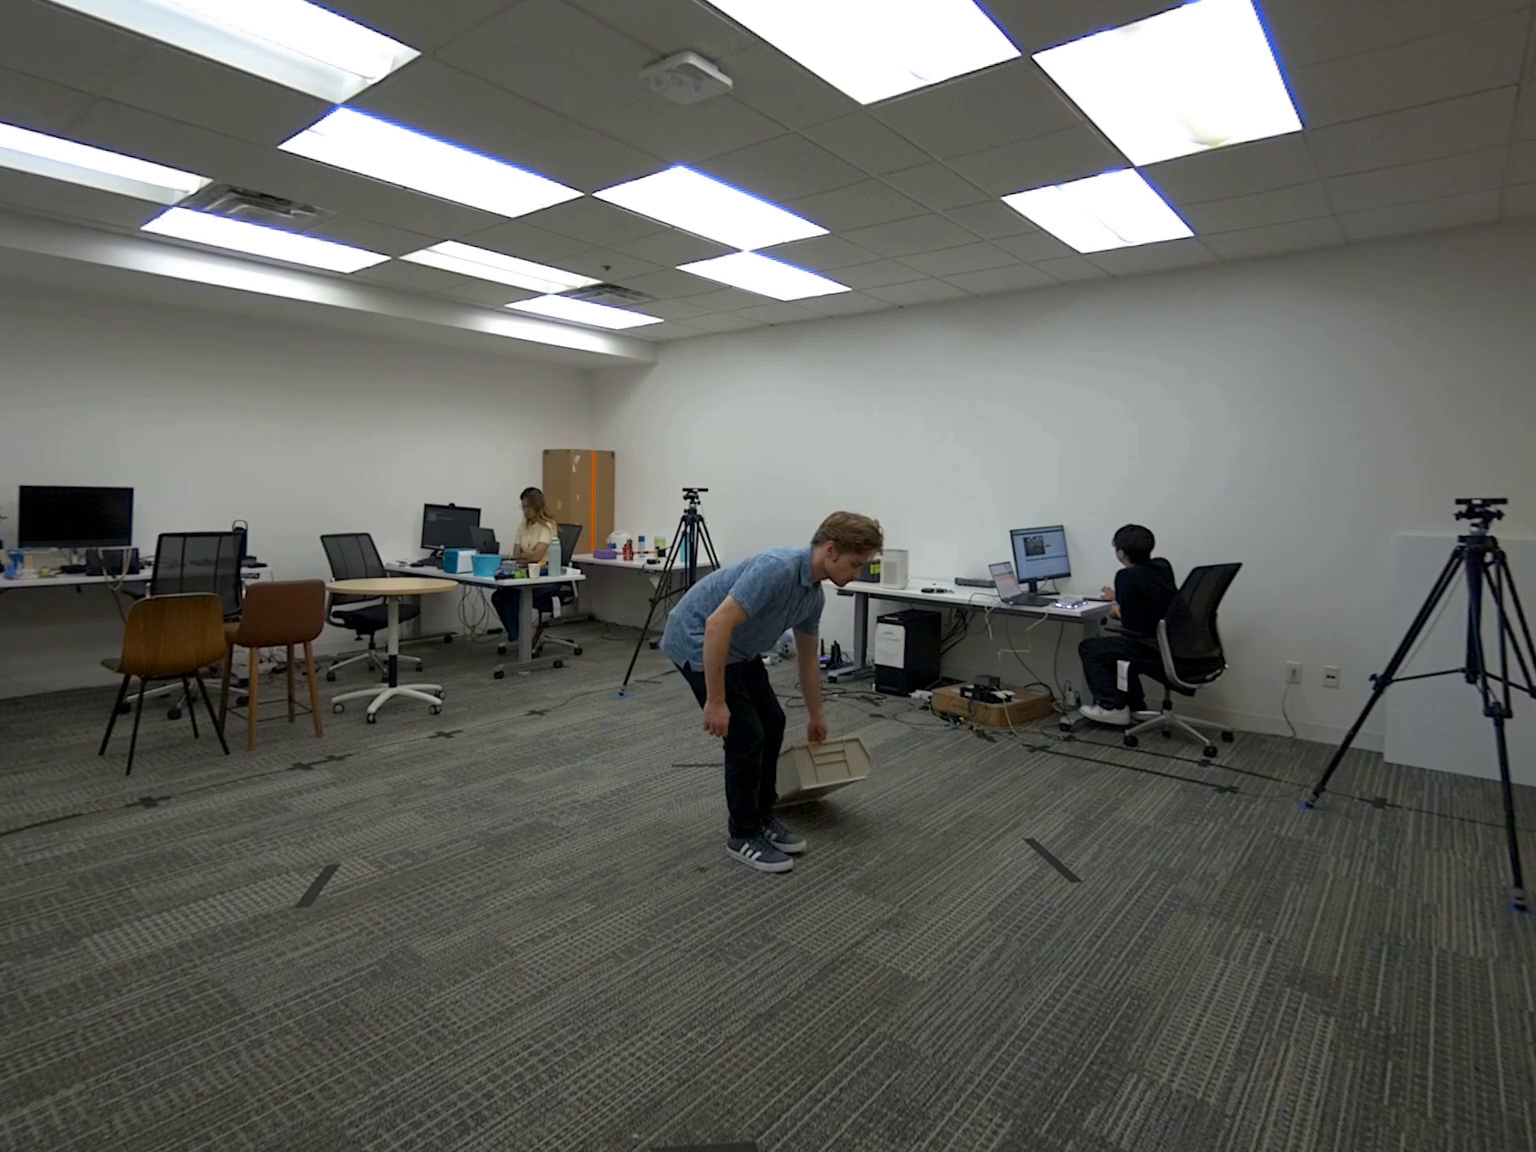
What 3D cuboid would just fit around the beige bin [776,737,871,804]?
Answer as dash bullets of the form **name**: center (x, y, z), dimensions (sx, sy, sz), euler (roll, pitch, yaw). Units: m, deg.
- **beige bin**: center (0.166, 0.837, 3.641), dimensions (0.367, 0.194, 0.423), euler (-2, -24, -31)
